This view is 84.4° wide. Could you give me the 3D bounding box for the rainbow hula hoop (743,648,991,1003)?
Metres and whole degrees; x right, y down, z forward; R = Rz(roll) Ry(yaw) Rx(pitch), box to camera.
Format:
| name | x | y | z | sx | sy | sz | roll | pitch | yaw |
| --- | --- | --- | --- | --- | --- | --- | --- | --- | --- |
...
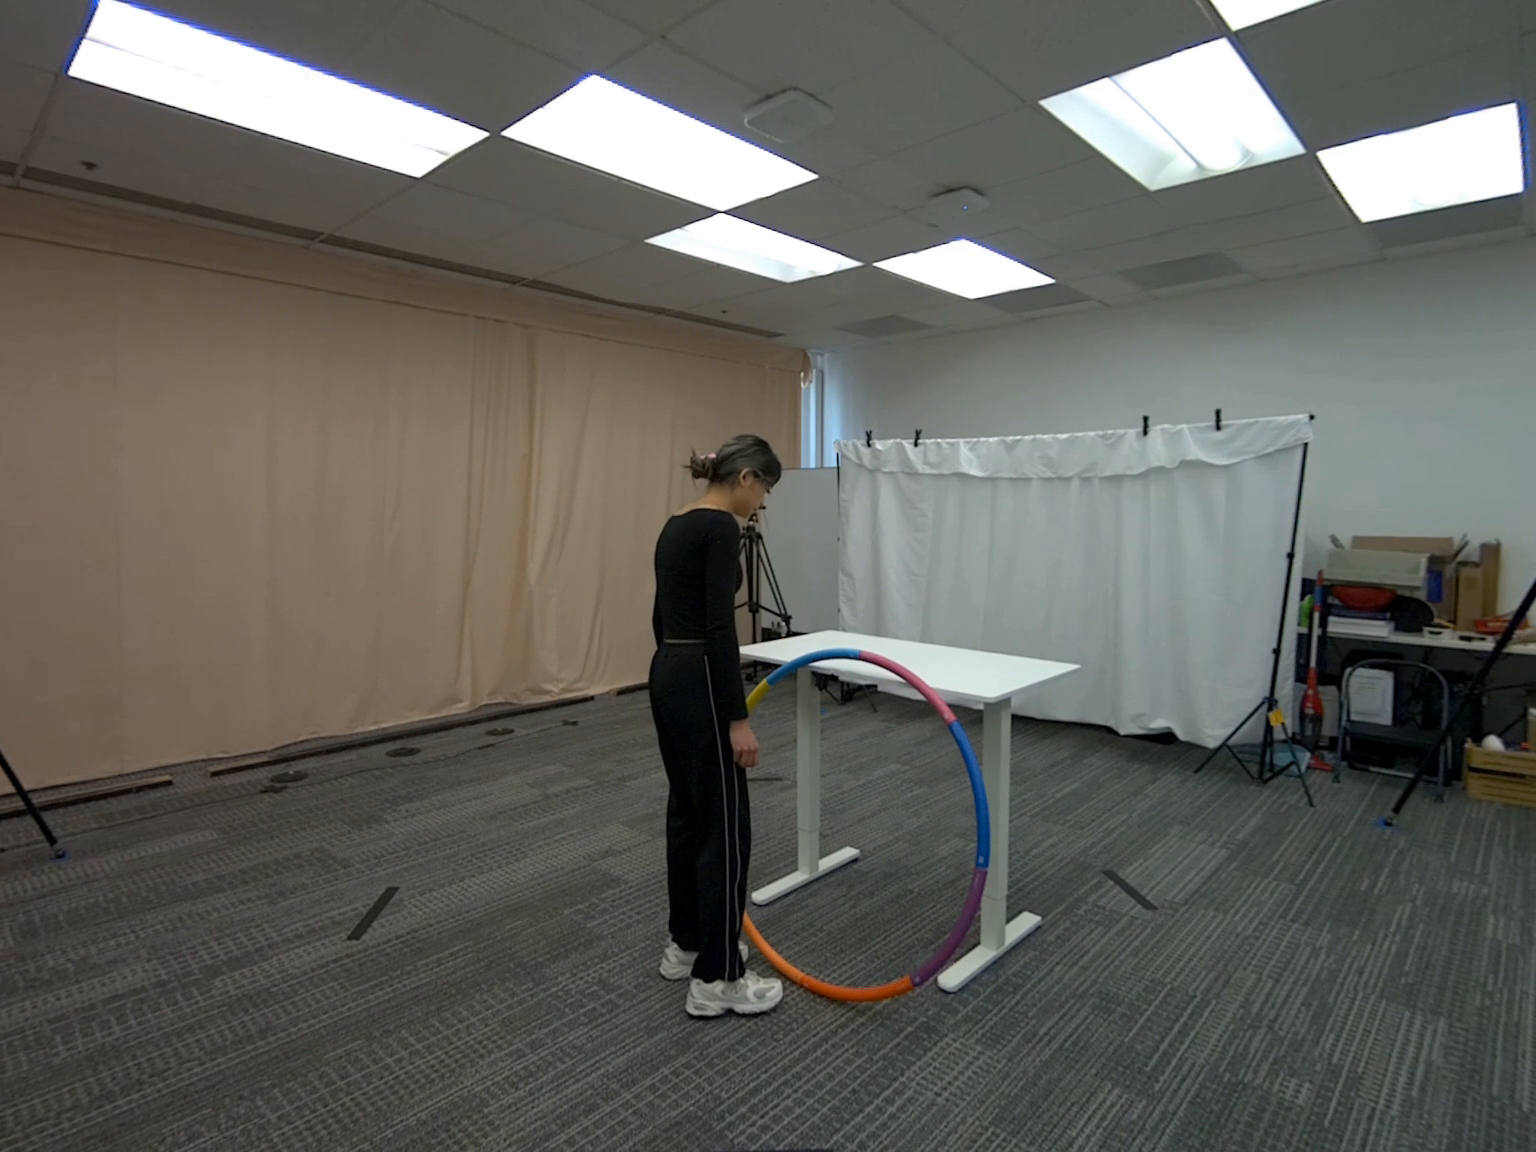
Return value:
| name | x | y | z | sx | sy | sz | roll | pitch | yaw |
| --- | --- | --- | --- | --- | --- | --- | --- | --- | --- |
| rainbow hula hoop | 0.197 | 0.712 | 2.494 | 1.011 | 0.982 | 0.034 | 4 | -10 | 43 |
